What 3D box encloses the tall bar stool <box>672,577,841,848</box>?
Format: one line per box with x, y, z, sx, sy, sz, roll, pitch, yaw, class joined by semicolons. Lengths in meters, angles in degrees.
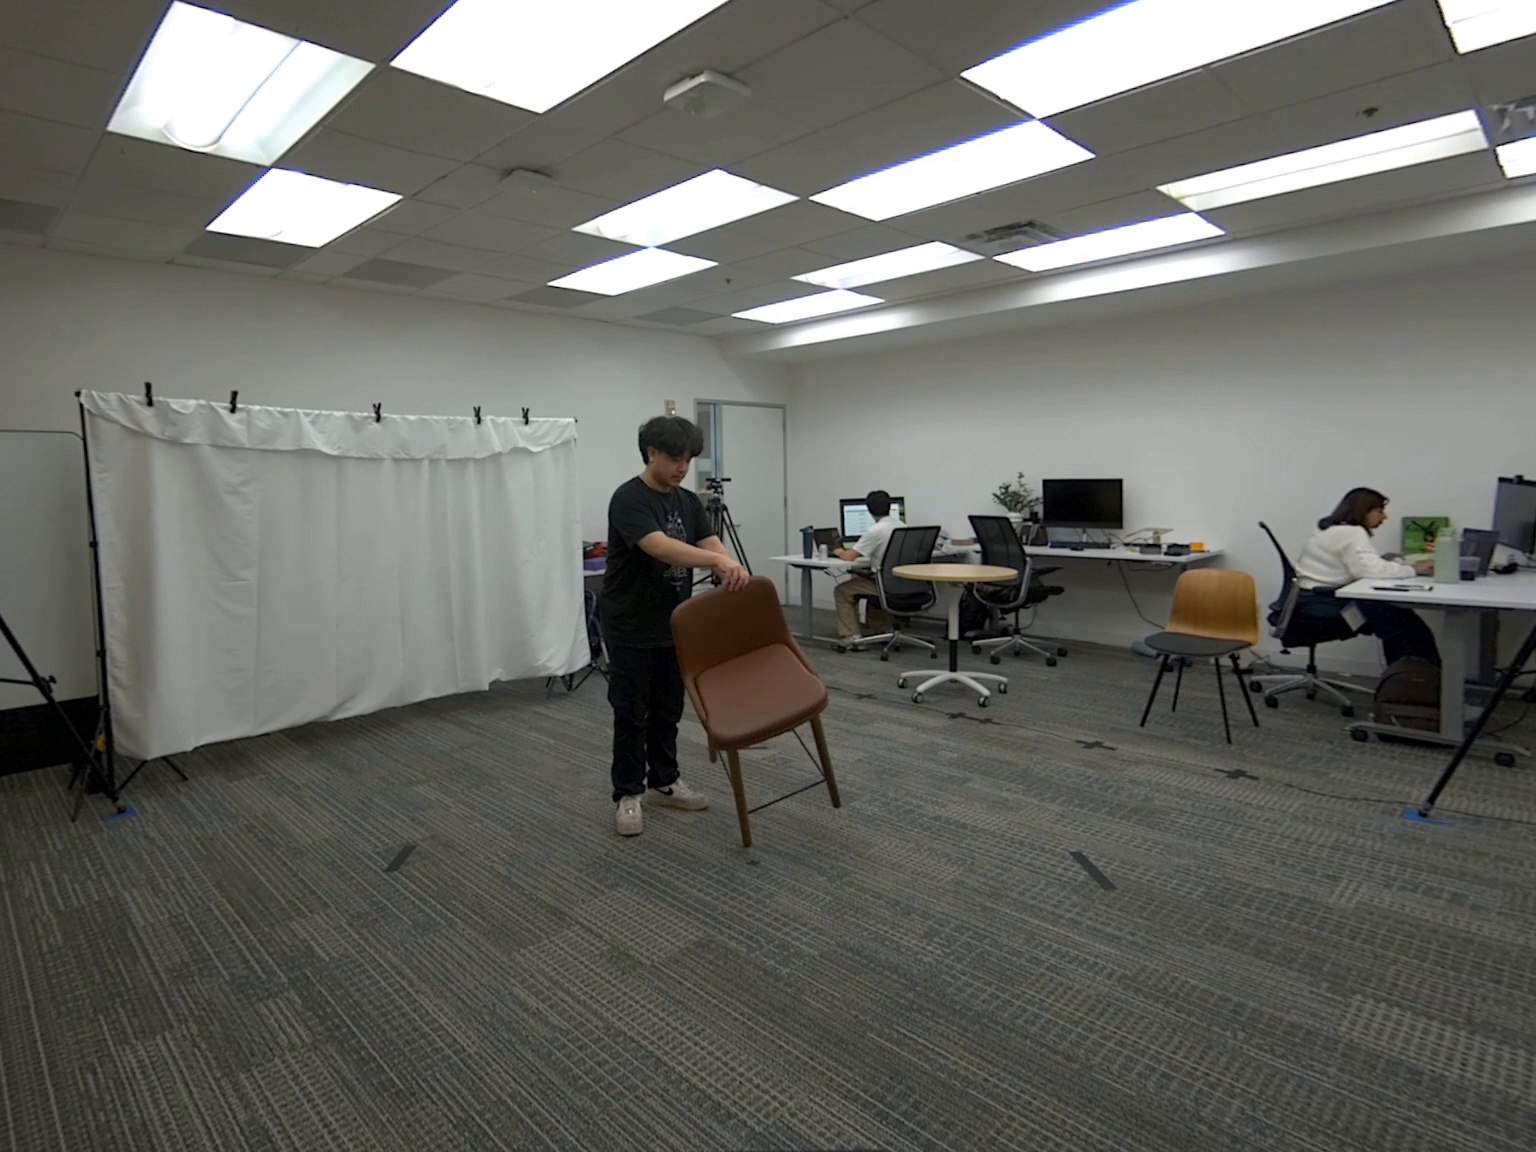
-0.038;0.506;3.192;0.453;0.863;0.486;-19;38;-13;tall bar stool
